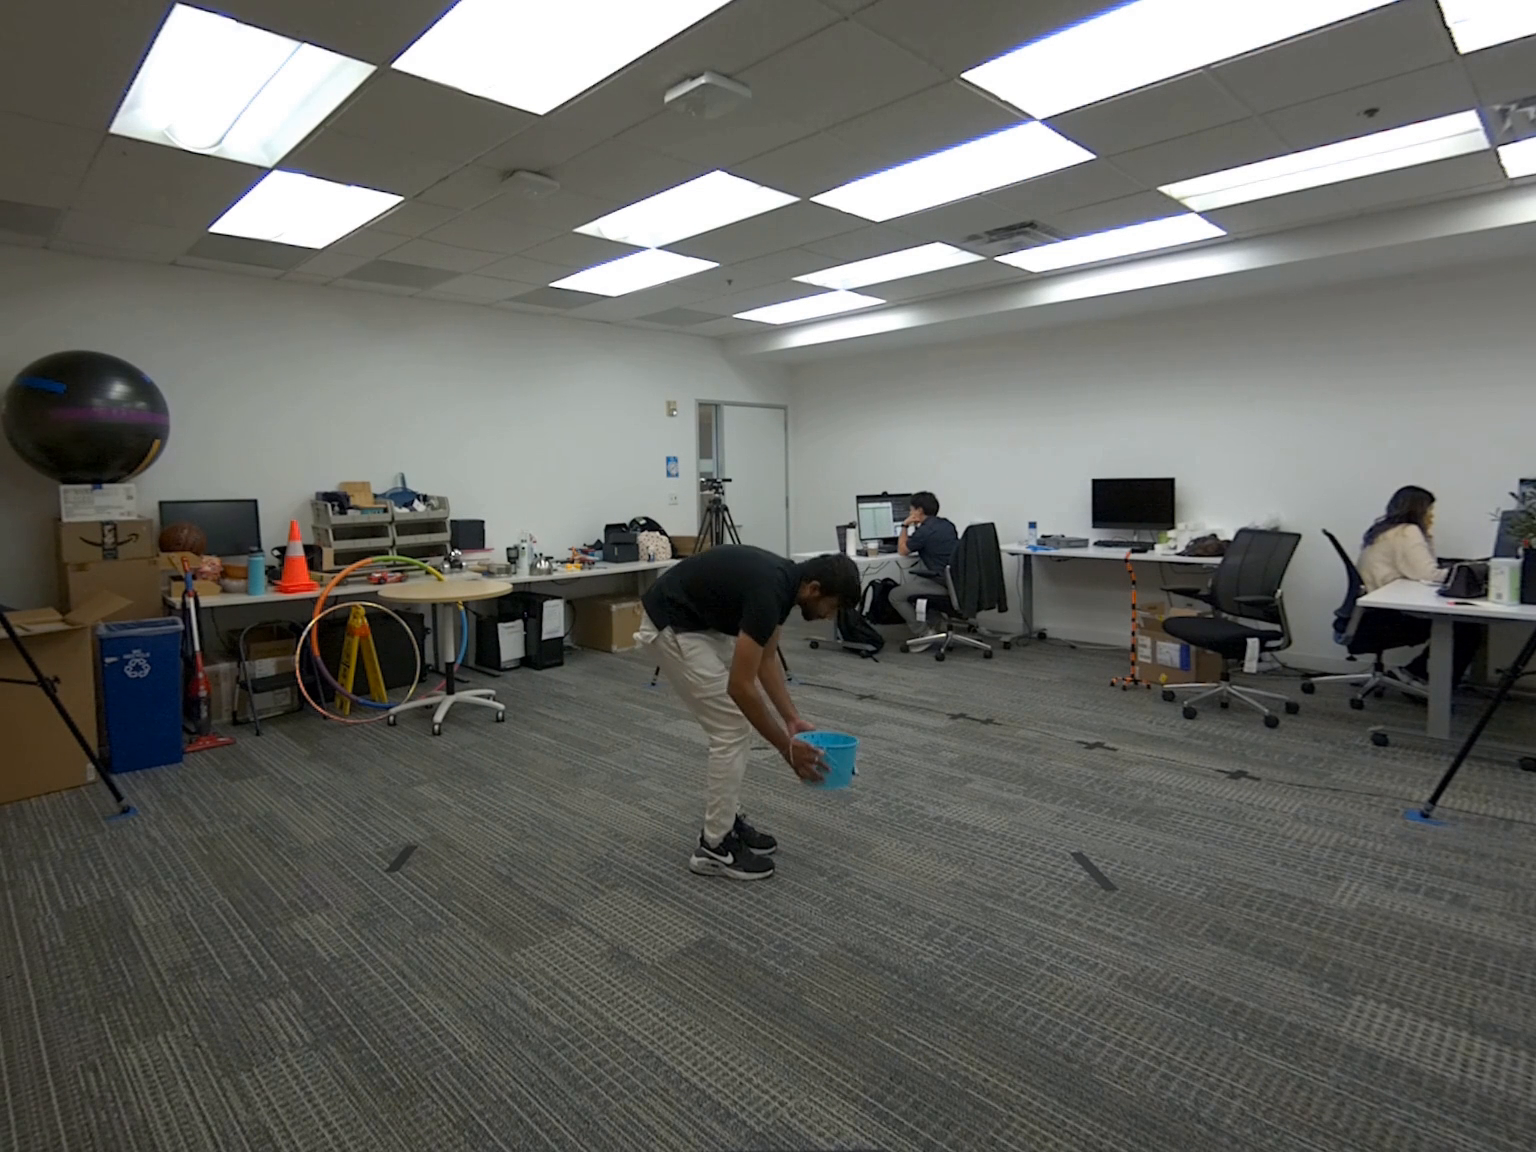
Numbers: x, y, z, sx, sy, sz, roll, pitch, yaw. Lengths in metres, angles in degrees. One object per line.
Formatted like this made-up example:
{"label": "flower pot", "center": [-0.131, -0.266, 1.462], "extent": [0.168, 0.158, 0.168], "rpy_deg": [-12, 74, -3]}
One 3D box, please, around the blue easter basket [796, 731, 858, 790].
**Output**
{"label": "blue easter basket", "center": [0.198, 0.682, 3.047], "extent": [0.243, 0.156, 0.244], "rpy_deg": [1, 1, -2]}
